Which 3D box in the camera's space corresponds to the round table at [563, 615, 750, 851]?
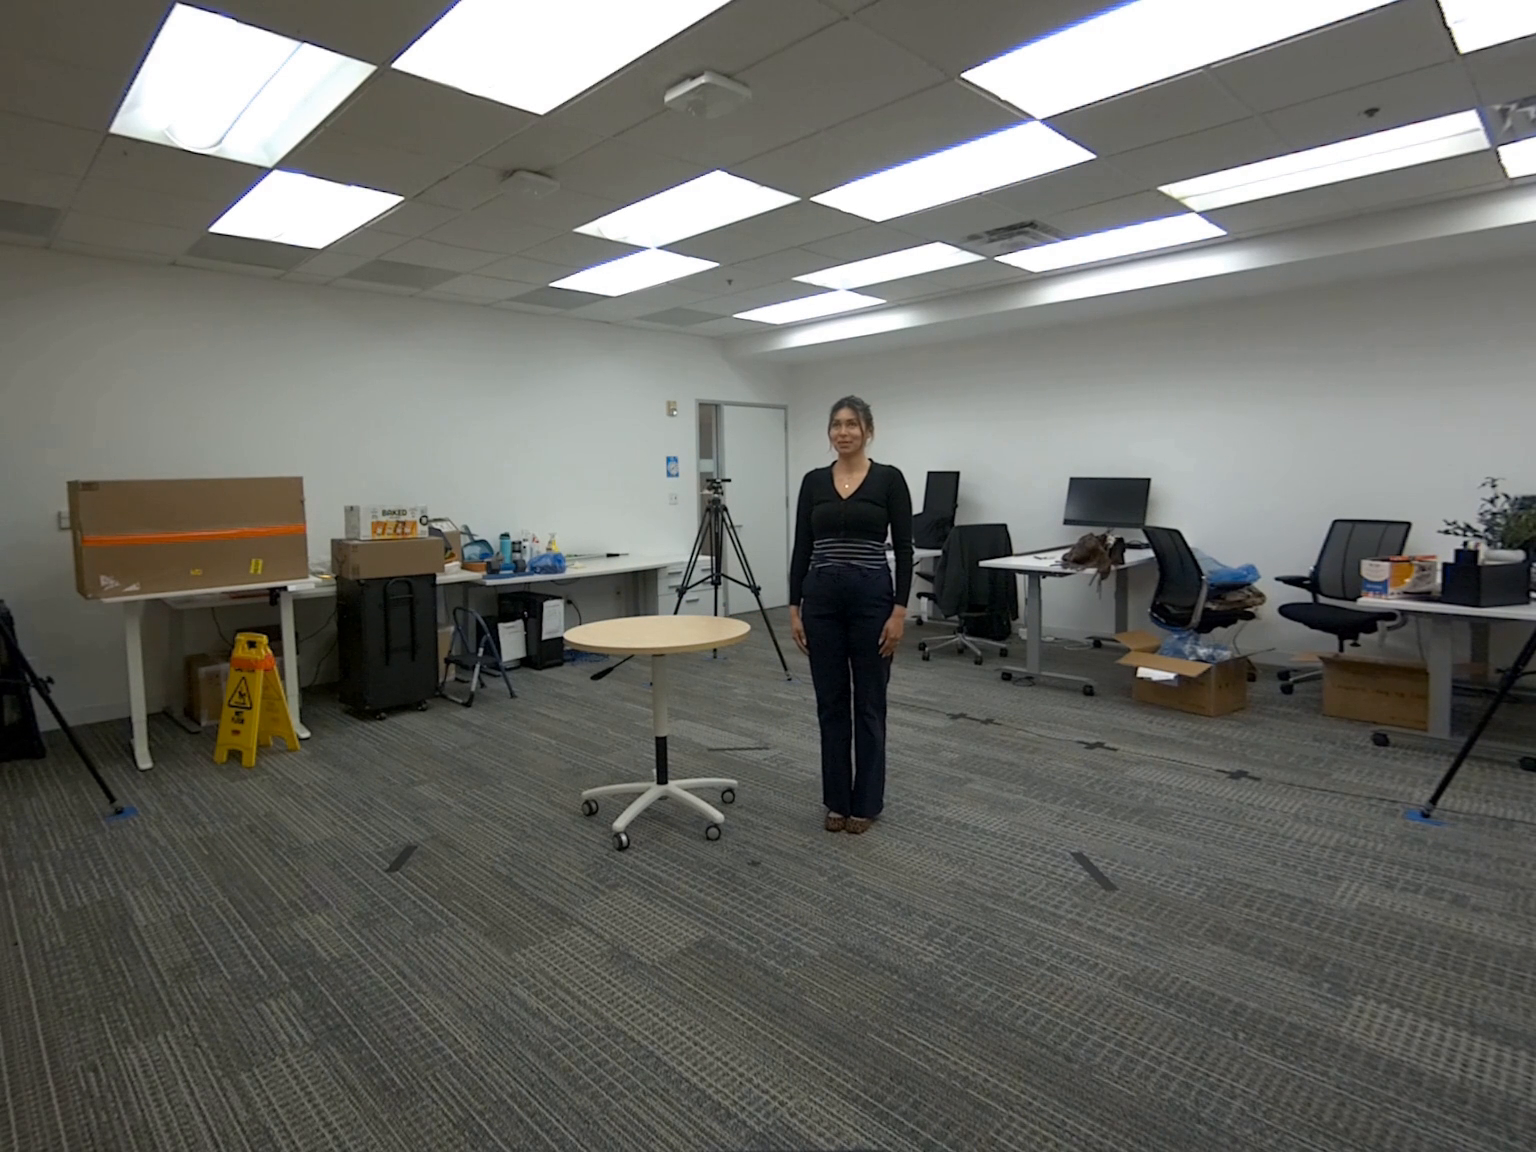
[{"bbox_3d":[-0.448,0.615,3.531,0.763,0.791,0.767,-2,4,-2],"label":"round table"}]
